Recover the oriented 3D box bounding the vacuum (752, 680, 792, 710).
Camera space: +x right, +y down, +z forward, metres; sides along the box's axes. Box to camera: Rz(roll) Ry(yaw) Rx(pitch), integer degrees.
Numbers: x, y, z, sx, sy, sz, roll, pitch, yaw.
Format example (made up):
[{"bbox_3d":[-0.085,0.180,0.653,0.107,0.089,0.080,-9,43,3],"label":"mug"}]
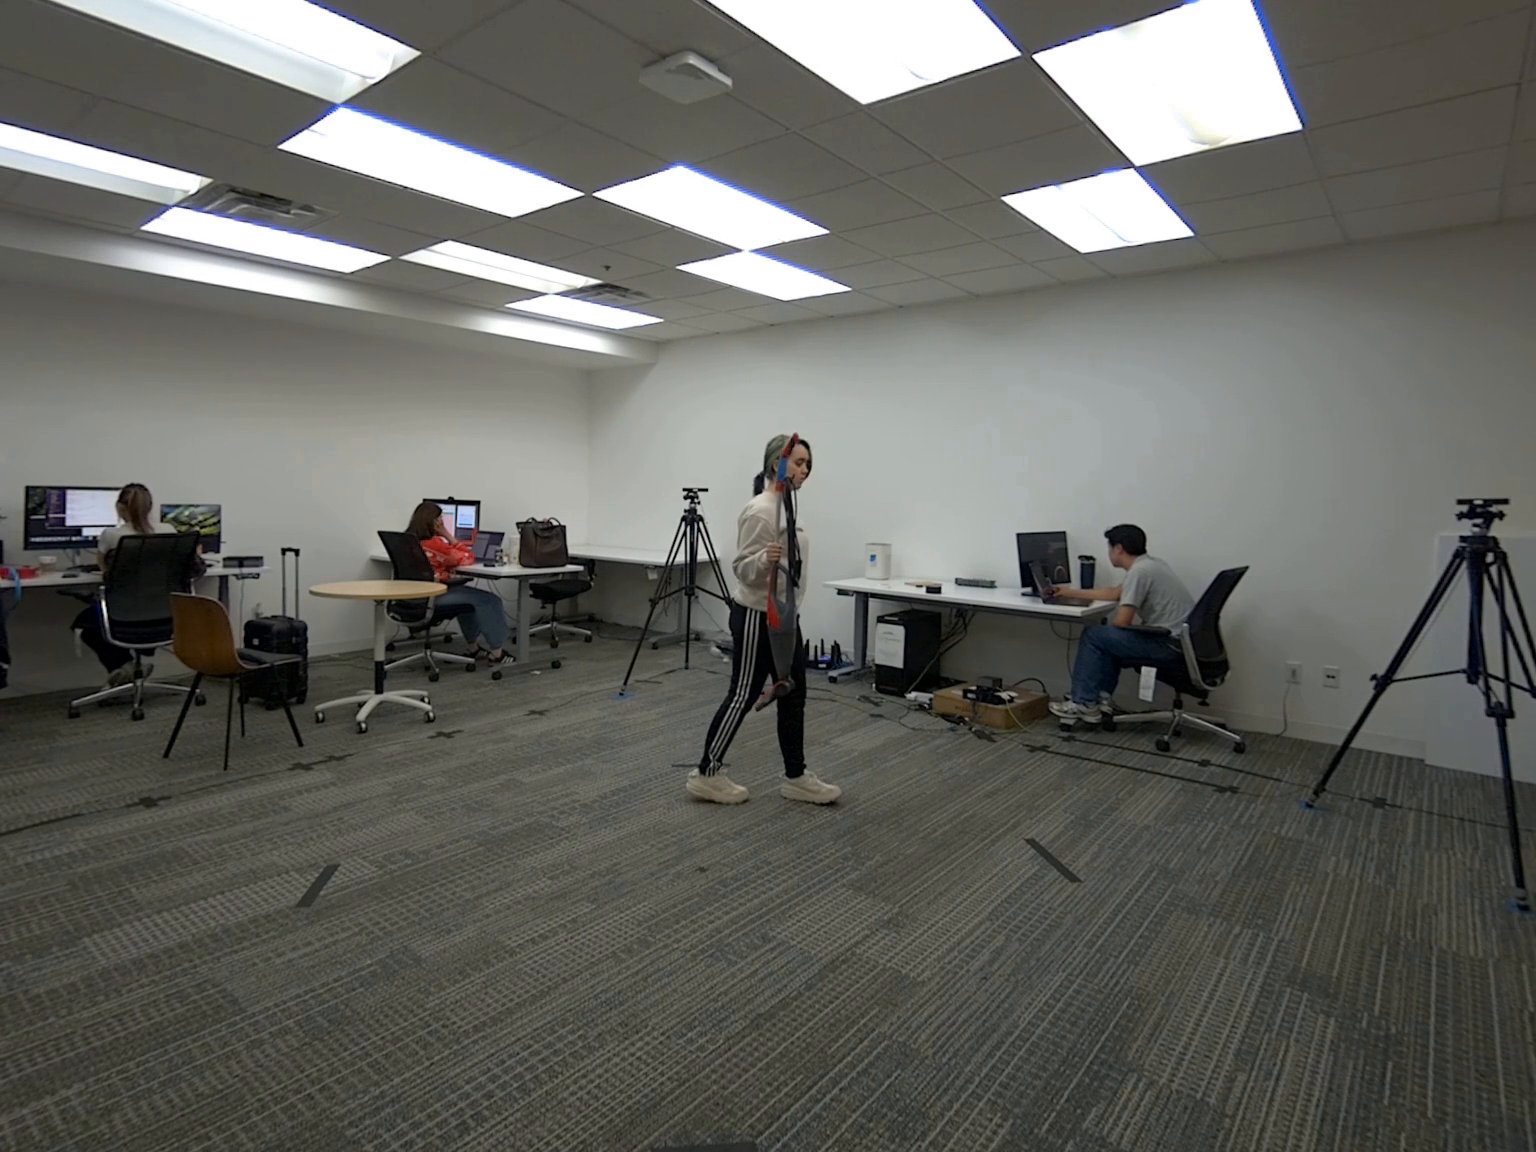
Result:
[{"bbox_3d":[0.050,-0.041,3.423,0.146,1.050,0.249,1,0,13],"label":"vacuum"}]
